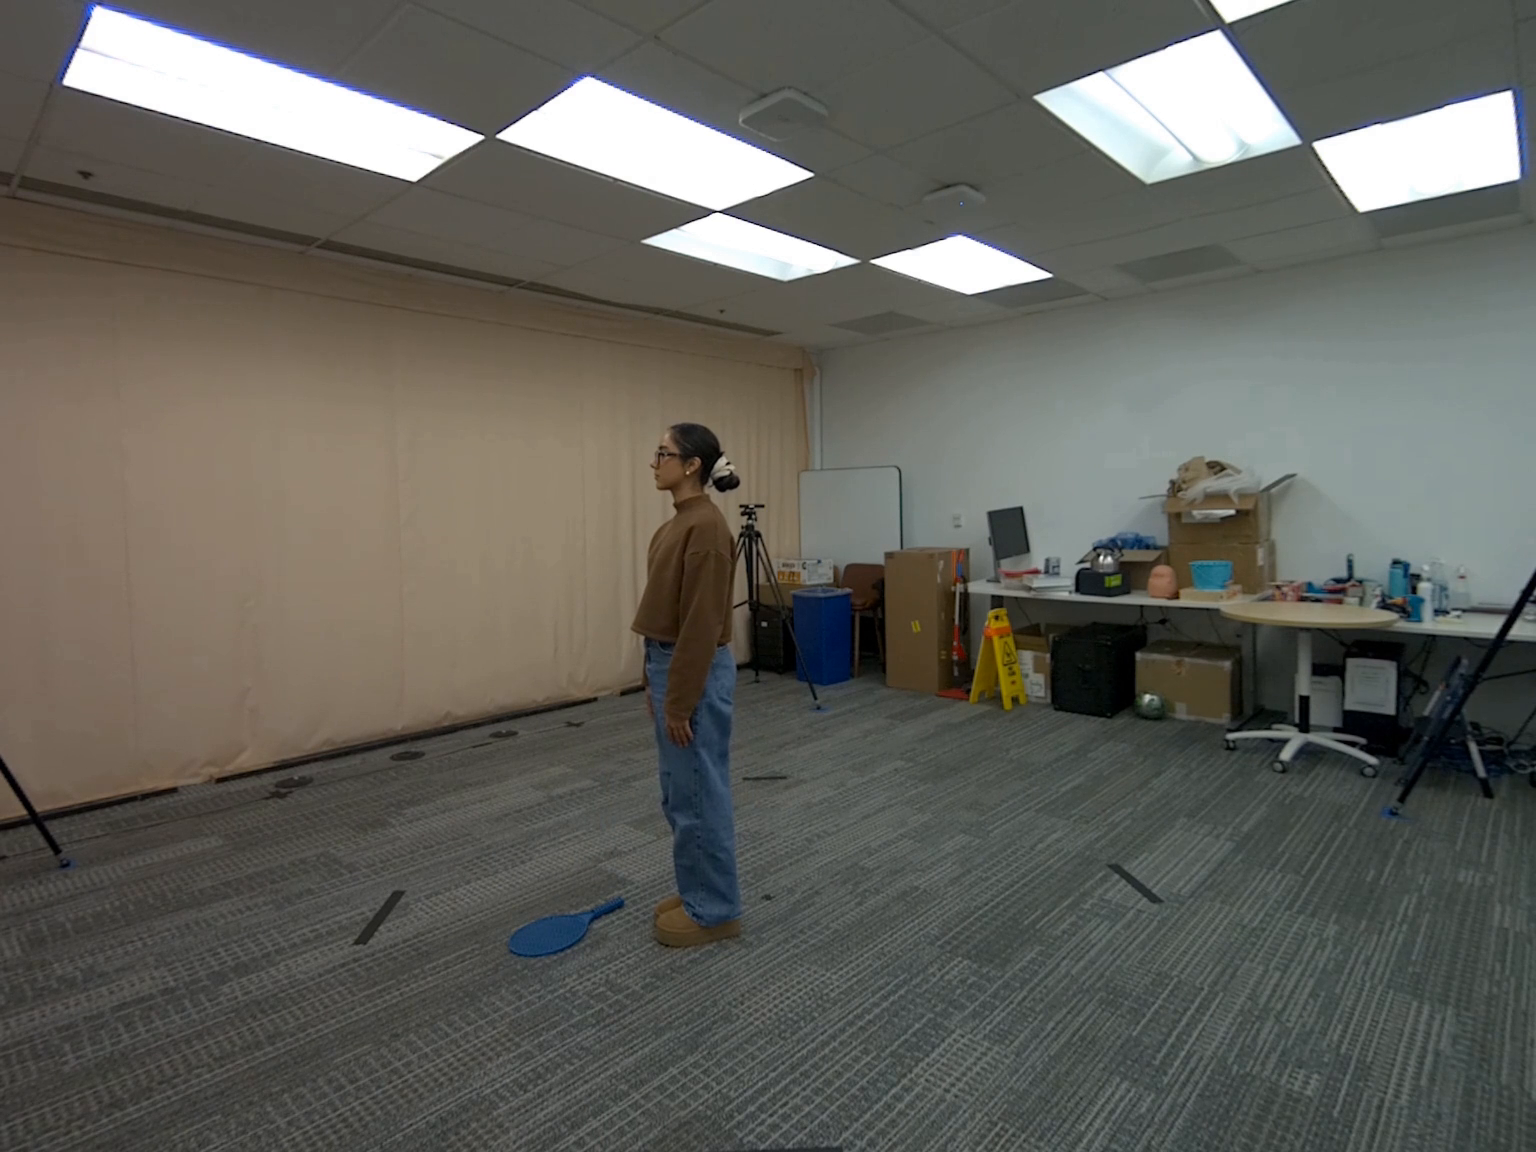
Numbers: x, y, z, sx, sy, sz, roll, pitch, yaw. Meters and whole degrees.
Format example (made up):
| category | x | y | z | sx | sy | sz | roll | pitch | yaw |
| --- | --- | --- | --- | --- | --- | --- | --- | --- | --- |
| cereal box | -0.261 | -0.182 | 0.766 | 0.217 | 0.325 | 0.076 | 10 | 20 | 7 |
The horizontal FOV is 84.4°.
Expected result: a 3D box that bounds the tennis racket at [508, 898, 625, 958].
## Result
| category | x | y | z | sx | sy | sz | roll | pitch | yaw |
| --- | --- | --- | --- | --- | --- | --- | --- | --- | --- |
| tennis racket | -0.655 | 1.161 | 2.796 | 0.420 | 0.031 | 0.221 | -8 | 8 | -44 |
